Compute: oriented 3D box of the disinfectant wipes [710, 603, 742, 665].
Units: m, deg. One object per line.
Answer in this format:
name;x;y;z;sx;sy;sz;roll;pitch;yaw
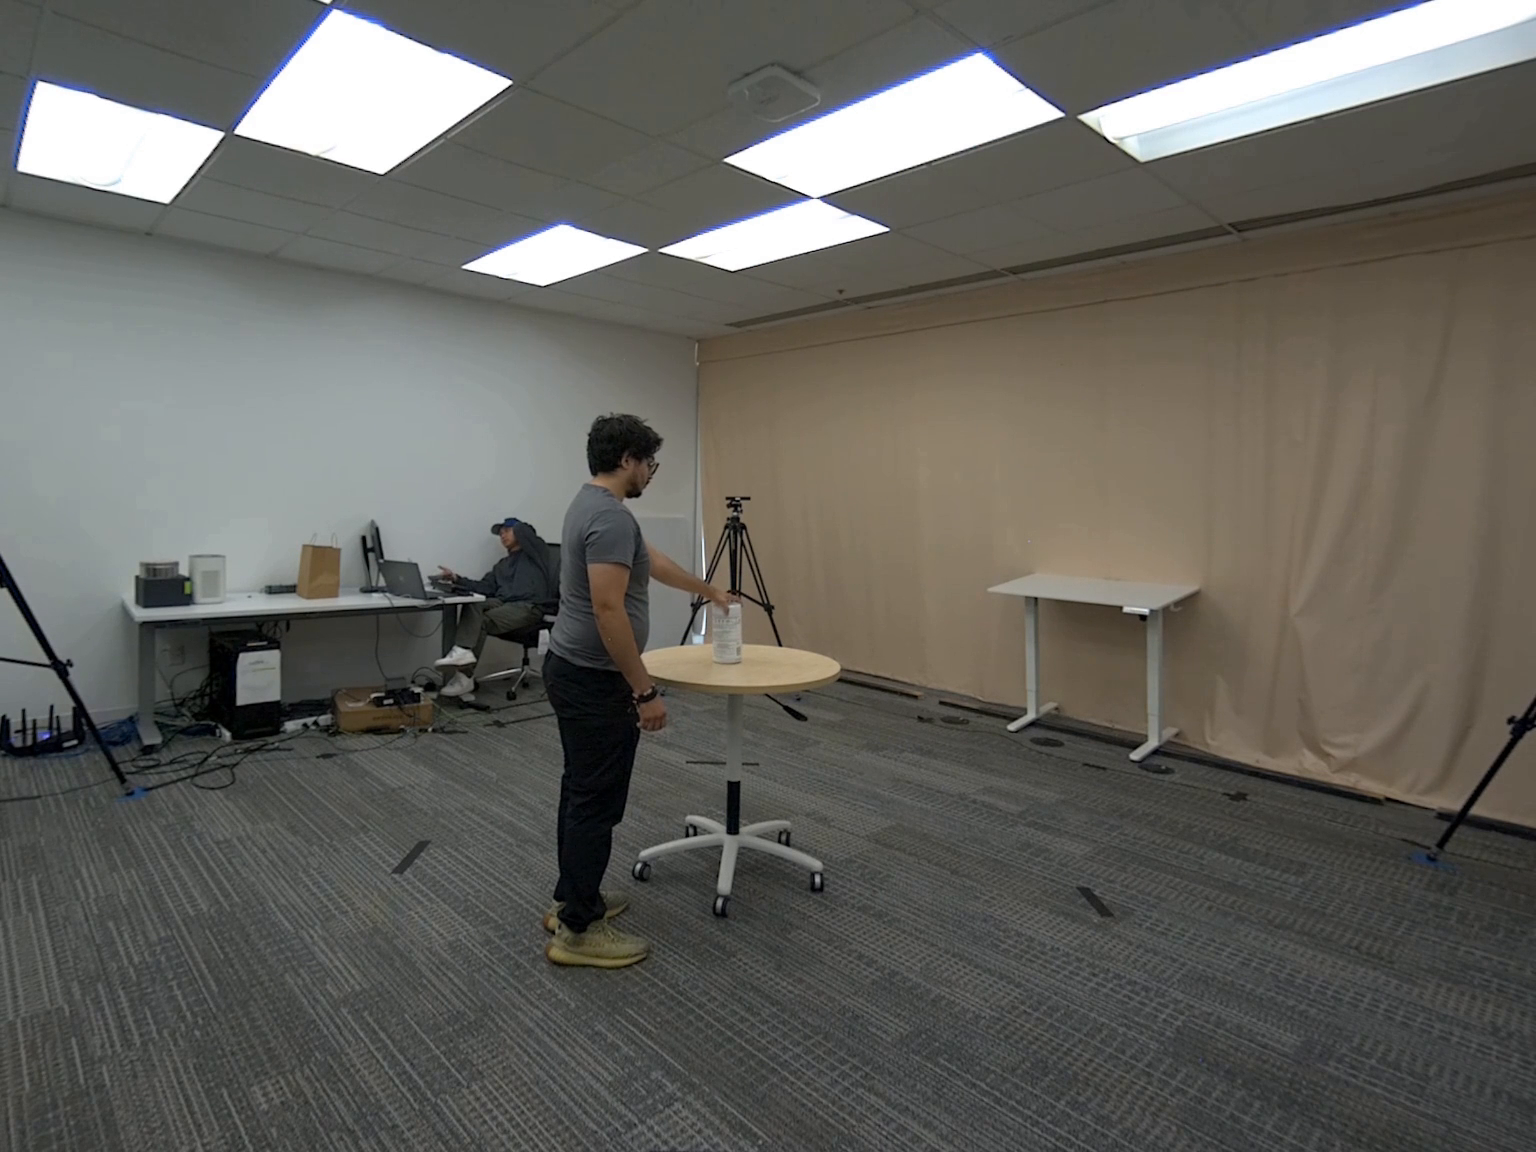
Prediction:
disinfectant wipes;-0.154;0.211;3.121;0.118;0.217;0.118;0;5;-1
